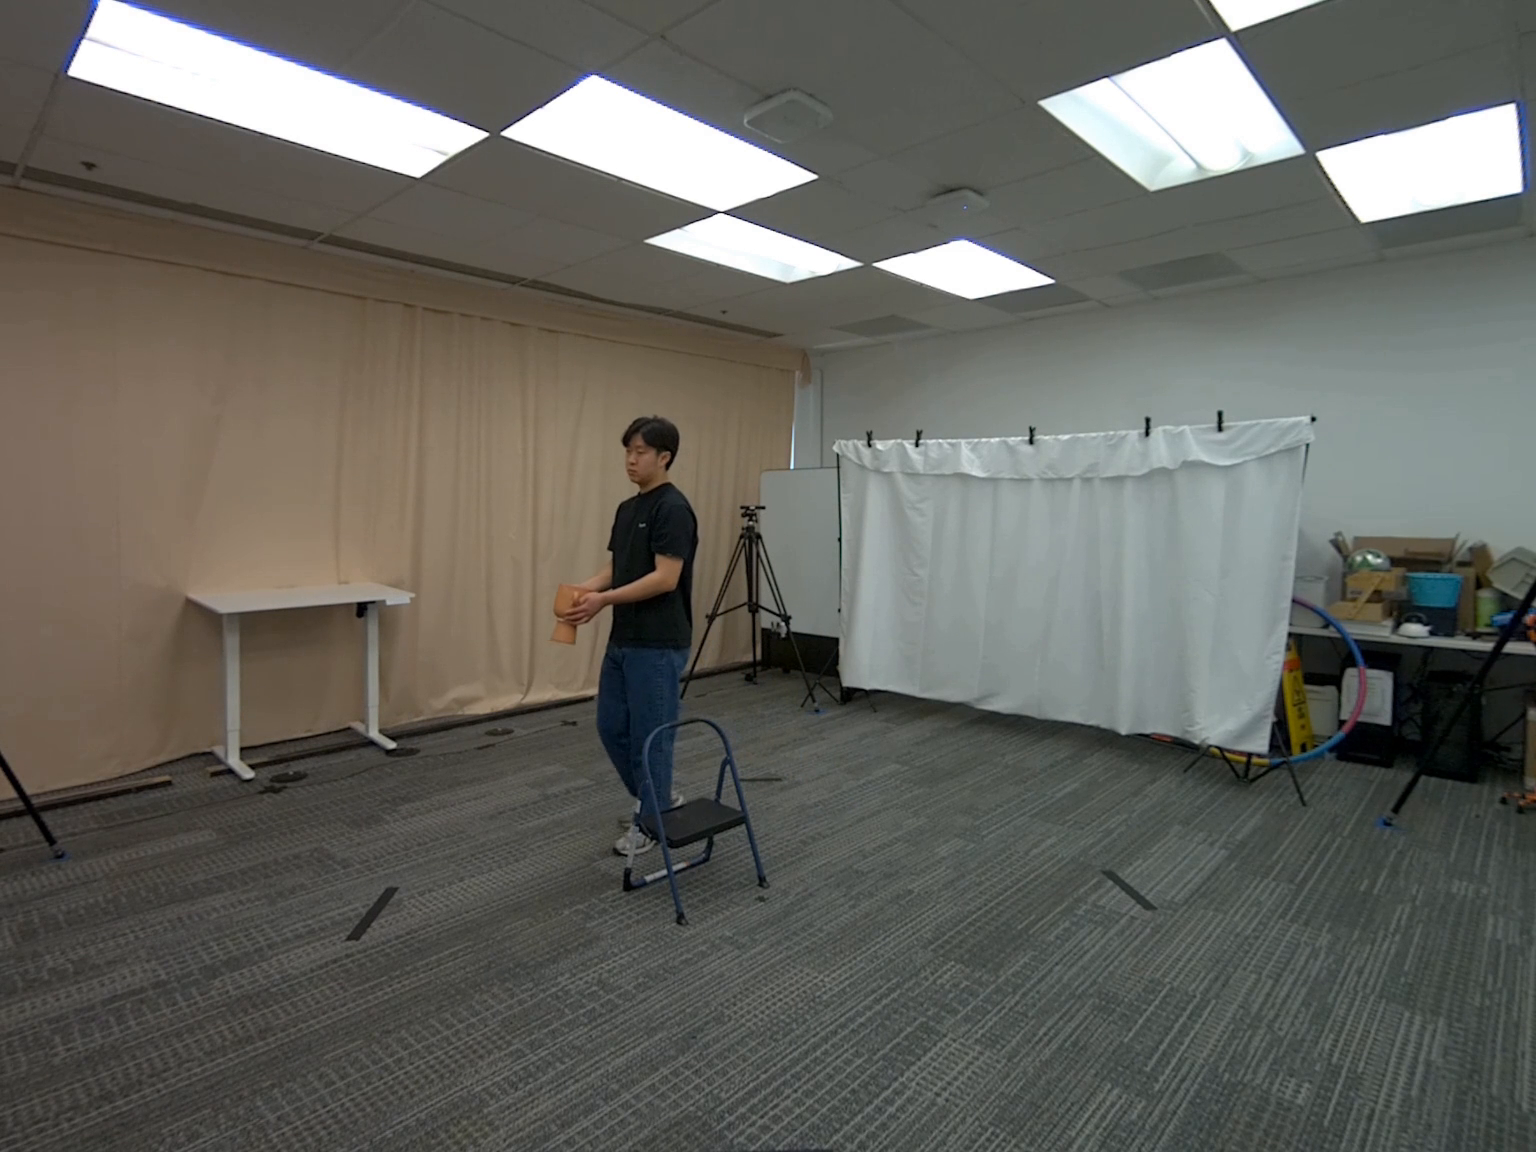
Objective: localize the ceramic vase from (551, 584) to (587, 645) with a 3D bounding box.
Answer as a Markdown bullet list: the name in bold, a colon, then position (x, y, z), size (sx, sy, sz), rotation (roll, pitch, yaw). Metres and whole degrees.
- **ceramic vase**: position (-0.758, 0.151, 3.268), size (0.138, 0.220, 0.155), rotation (9, -5, 21)
